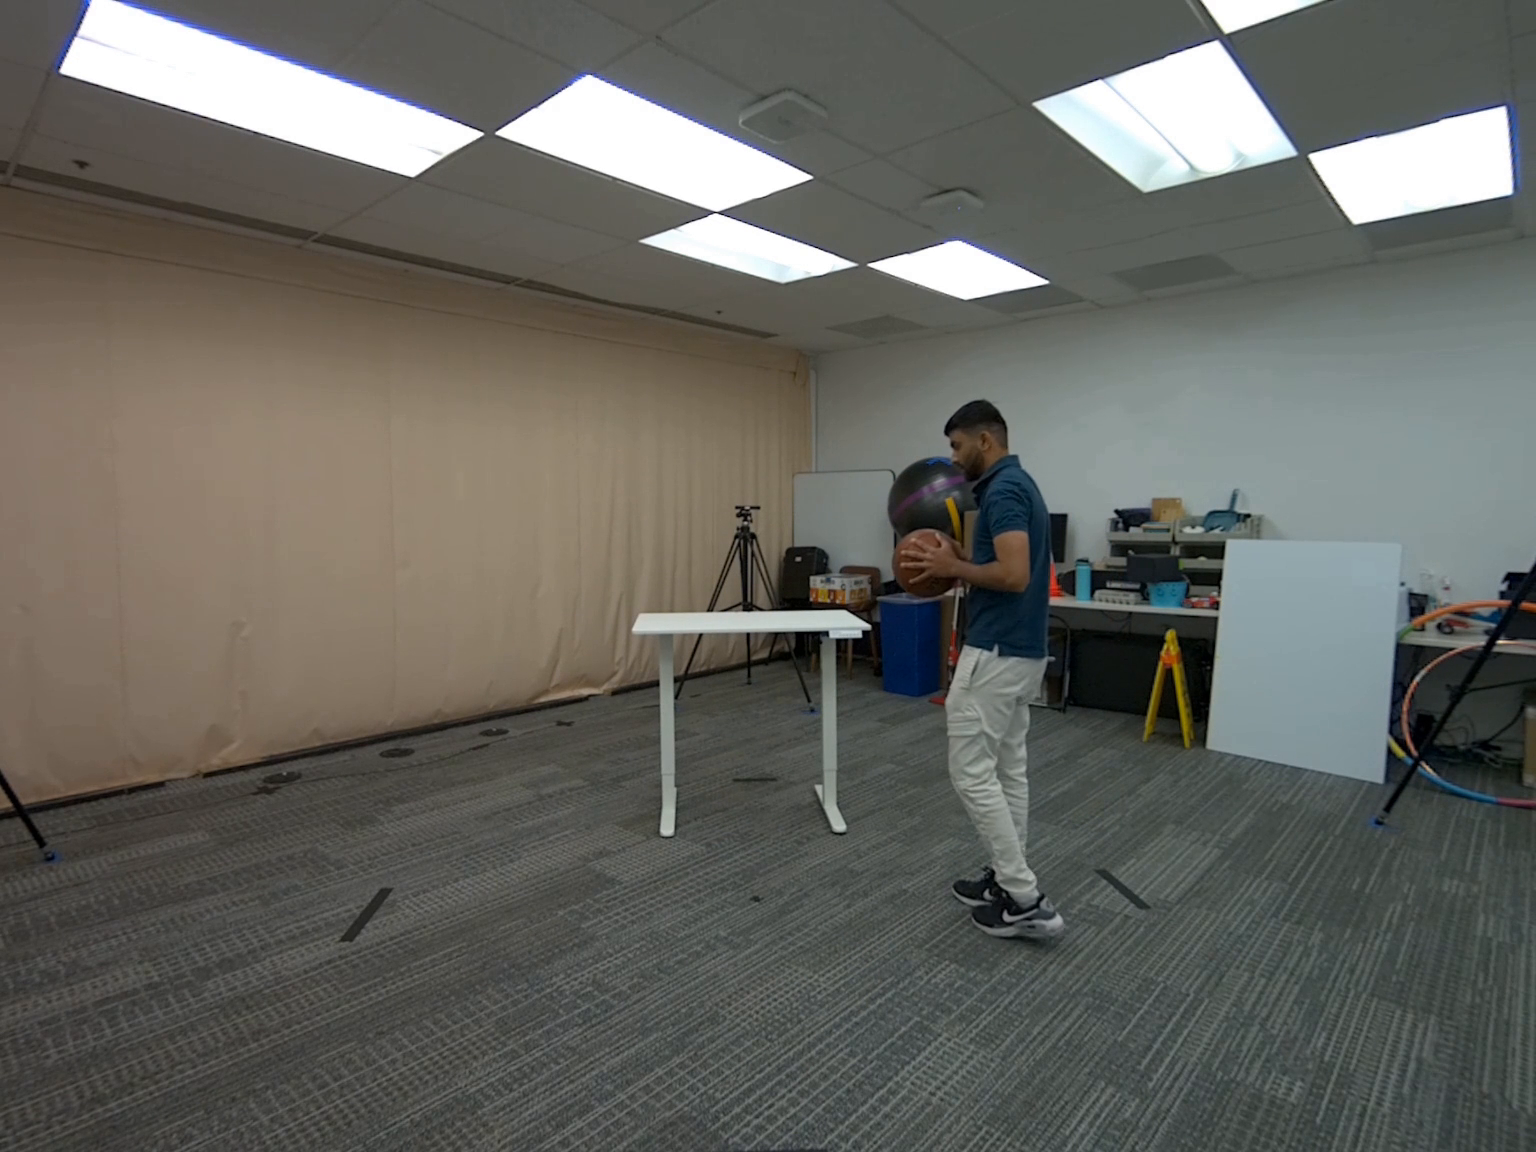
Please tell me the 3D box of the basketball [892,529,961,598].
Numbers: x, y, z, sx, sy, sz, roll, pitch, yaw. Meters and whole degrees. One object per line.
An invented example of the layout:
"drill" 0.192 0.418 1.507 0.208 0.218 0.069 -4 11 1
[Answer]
"basketball" 0.557 -0.044 2.933 0.236 0.235 0.237 0 4 -2
